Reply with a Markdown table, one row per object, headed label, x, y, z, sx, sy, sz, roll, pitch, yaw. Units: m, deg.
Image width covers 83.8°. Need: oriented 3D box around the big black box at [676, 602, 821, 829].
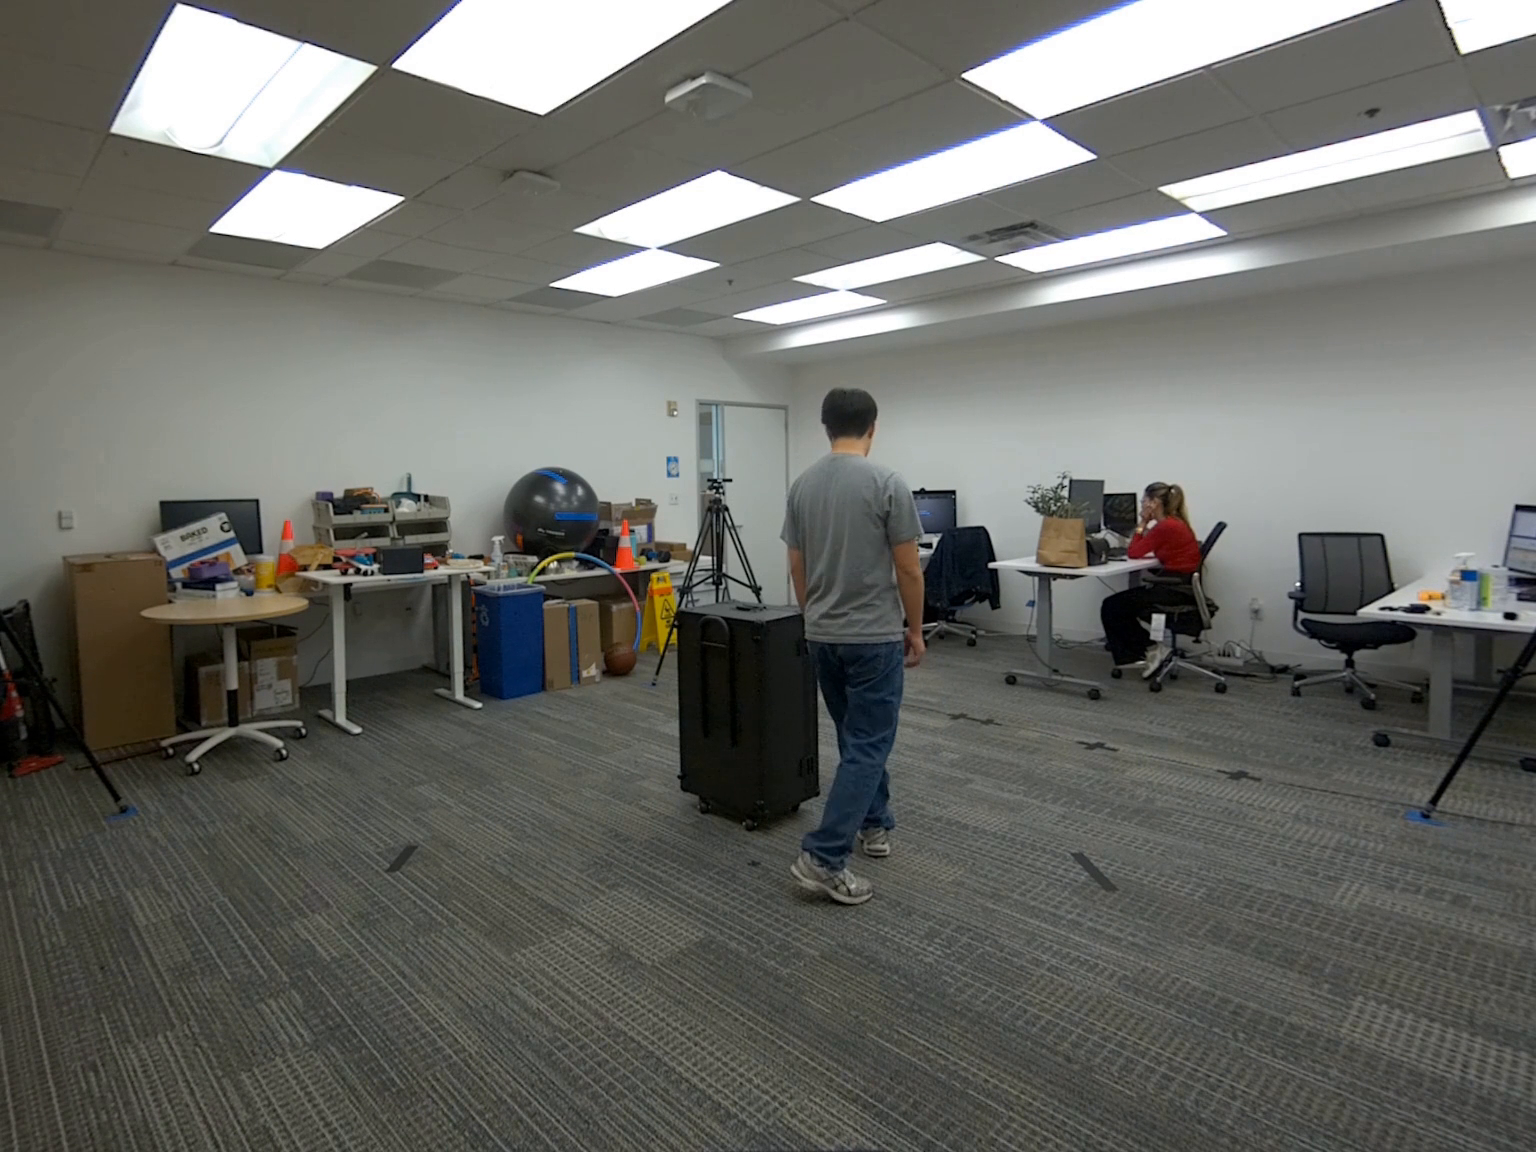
| label | x | y | z | sx | sy | sz | roll | pitch | yaw |
| --- | --- | --- | --- | --- | --- | --- | --- | --- | --- |
| big black box | -0.091 | 0.566 | 3.589 | 0.537 | 0.858 | 0.386 | 3 | 6 | 43 |
